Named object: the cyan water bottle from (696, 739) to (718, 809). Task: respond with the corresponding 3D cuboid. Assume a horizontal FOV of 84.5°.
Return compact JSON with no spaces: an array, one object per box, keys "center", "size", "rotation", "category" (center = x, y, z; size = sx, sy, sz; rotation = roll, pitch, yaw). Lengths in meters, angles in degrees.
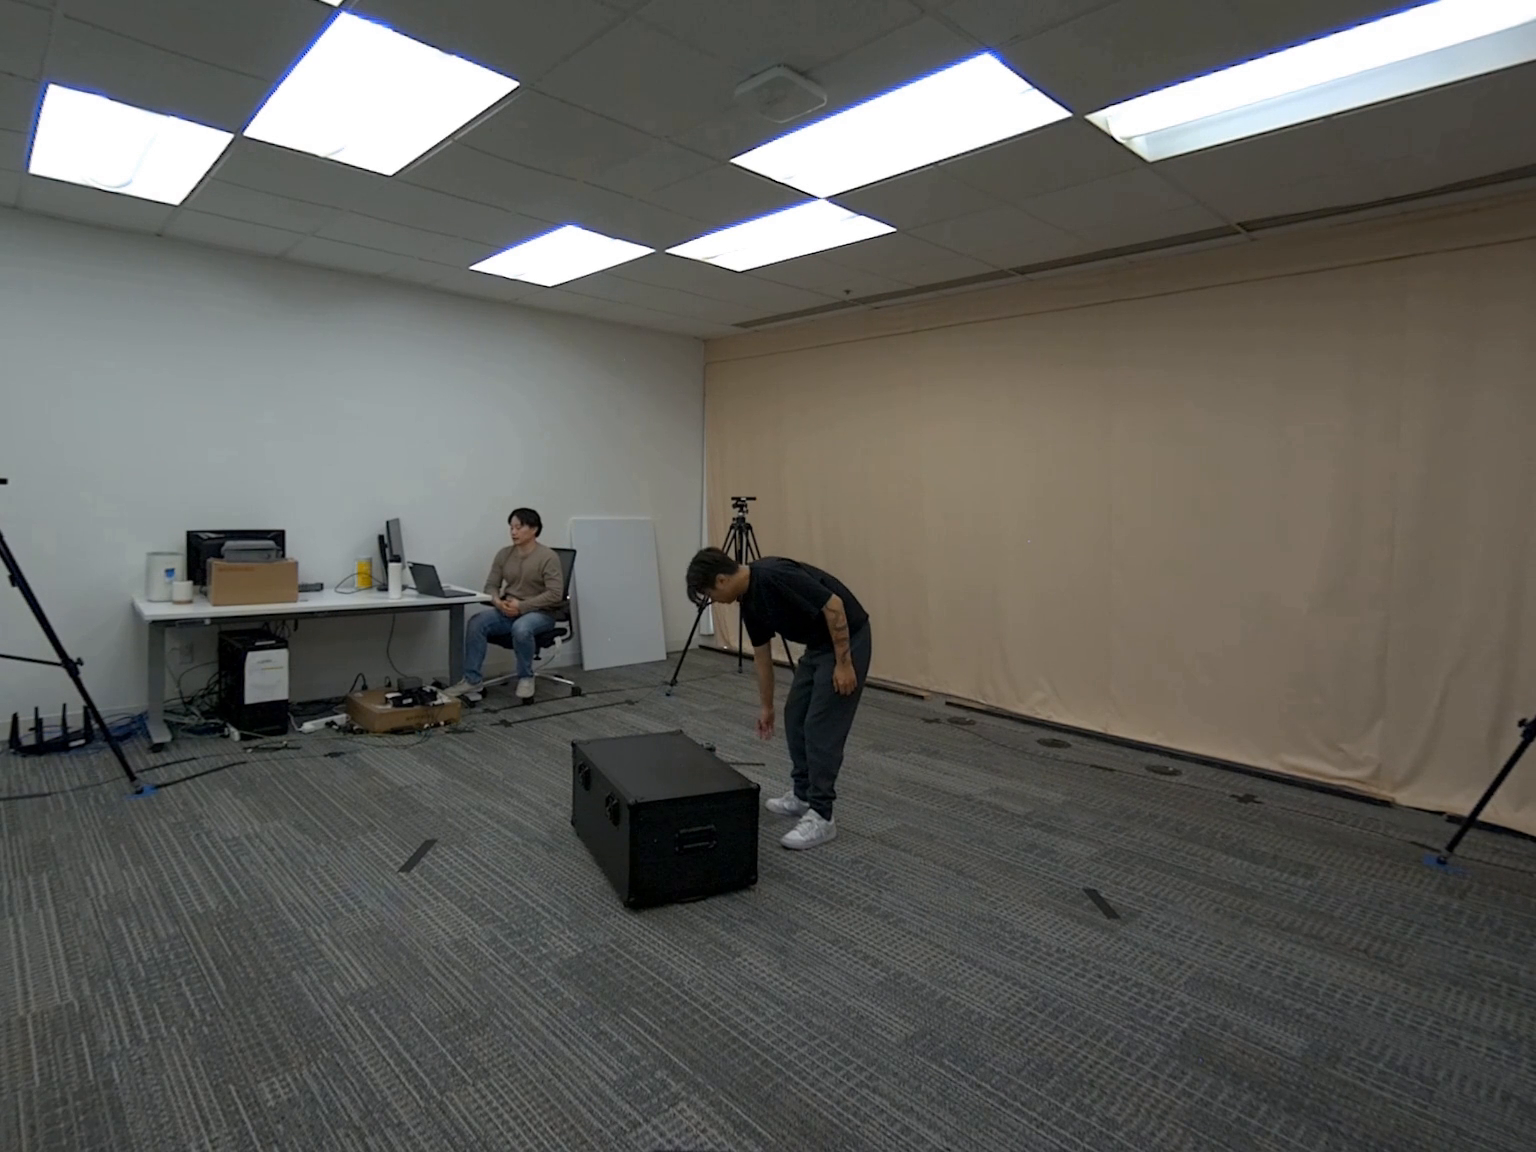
[{"center":[-0.279,0.892,3.828],"size":[0.092,0.283,0.092],"rotation":[0,1,-1],"category":"cyan water bottle"}]
